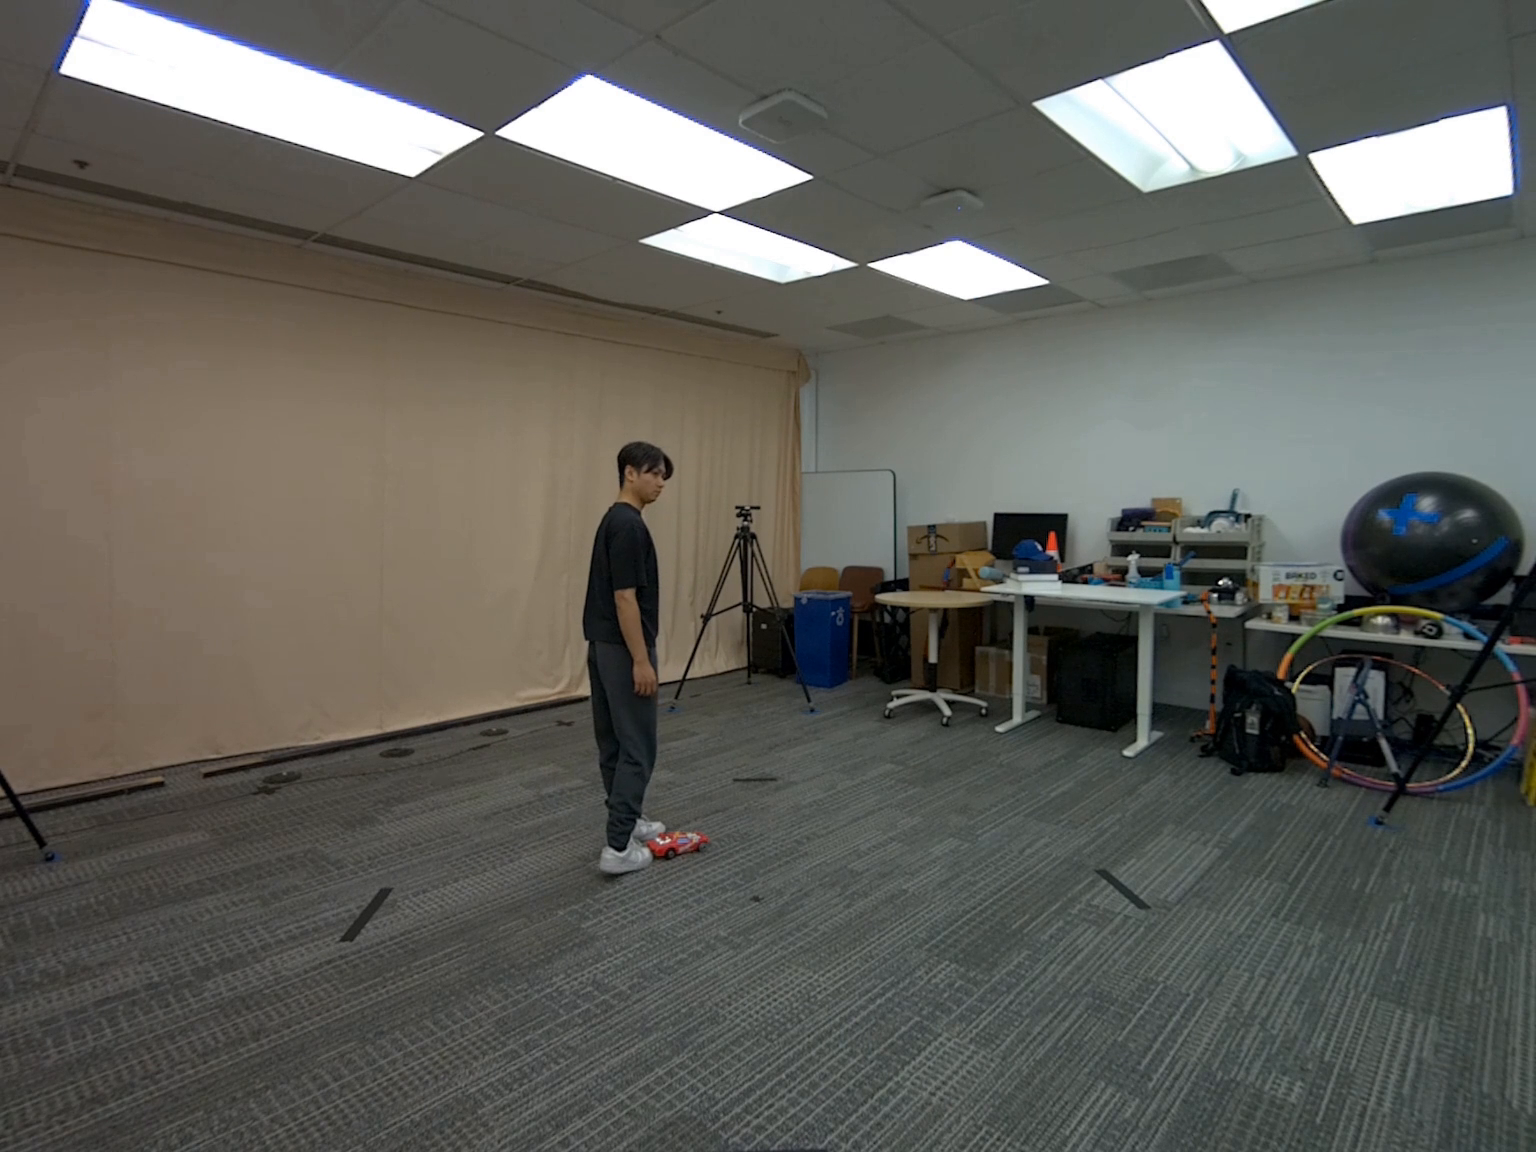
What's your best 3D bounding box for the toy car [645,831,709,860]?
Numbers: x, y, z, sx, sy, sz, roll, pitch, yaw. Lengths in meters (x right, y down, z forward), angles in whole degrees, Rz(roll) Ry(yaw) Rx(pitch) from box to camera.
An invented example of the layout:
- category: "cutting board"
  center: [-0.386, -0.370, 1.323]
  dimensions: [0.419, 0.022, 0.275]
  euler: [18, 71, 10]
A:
- category: "toy car"
  center: [-0.370, 1.081, 3.391]
  dimensions: [0.247, 0.083, 0.134]
  euler: [10, -2, -30]
